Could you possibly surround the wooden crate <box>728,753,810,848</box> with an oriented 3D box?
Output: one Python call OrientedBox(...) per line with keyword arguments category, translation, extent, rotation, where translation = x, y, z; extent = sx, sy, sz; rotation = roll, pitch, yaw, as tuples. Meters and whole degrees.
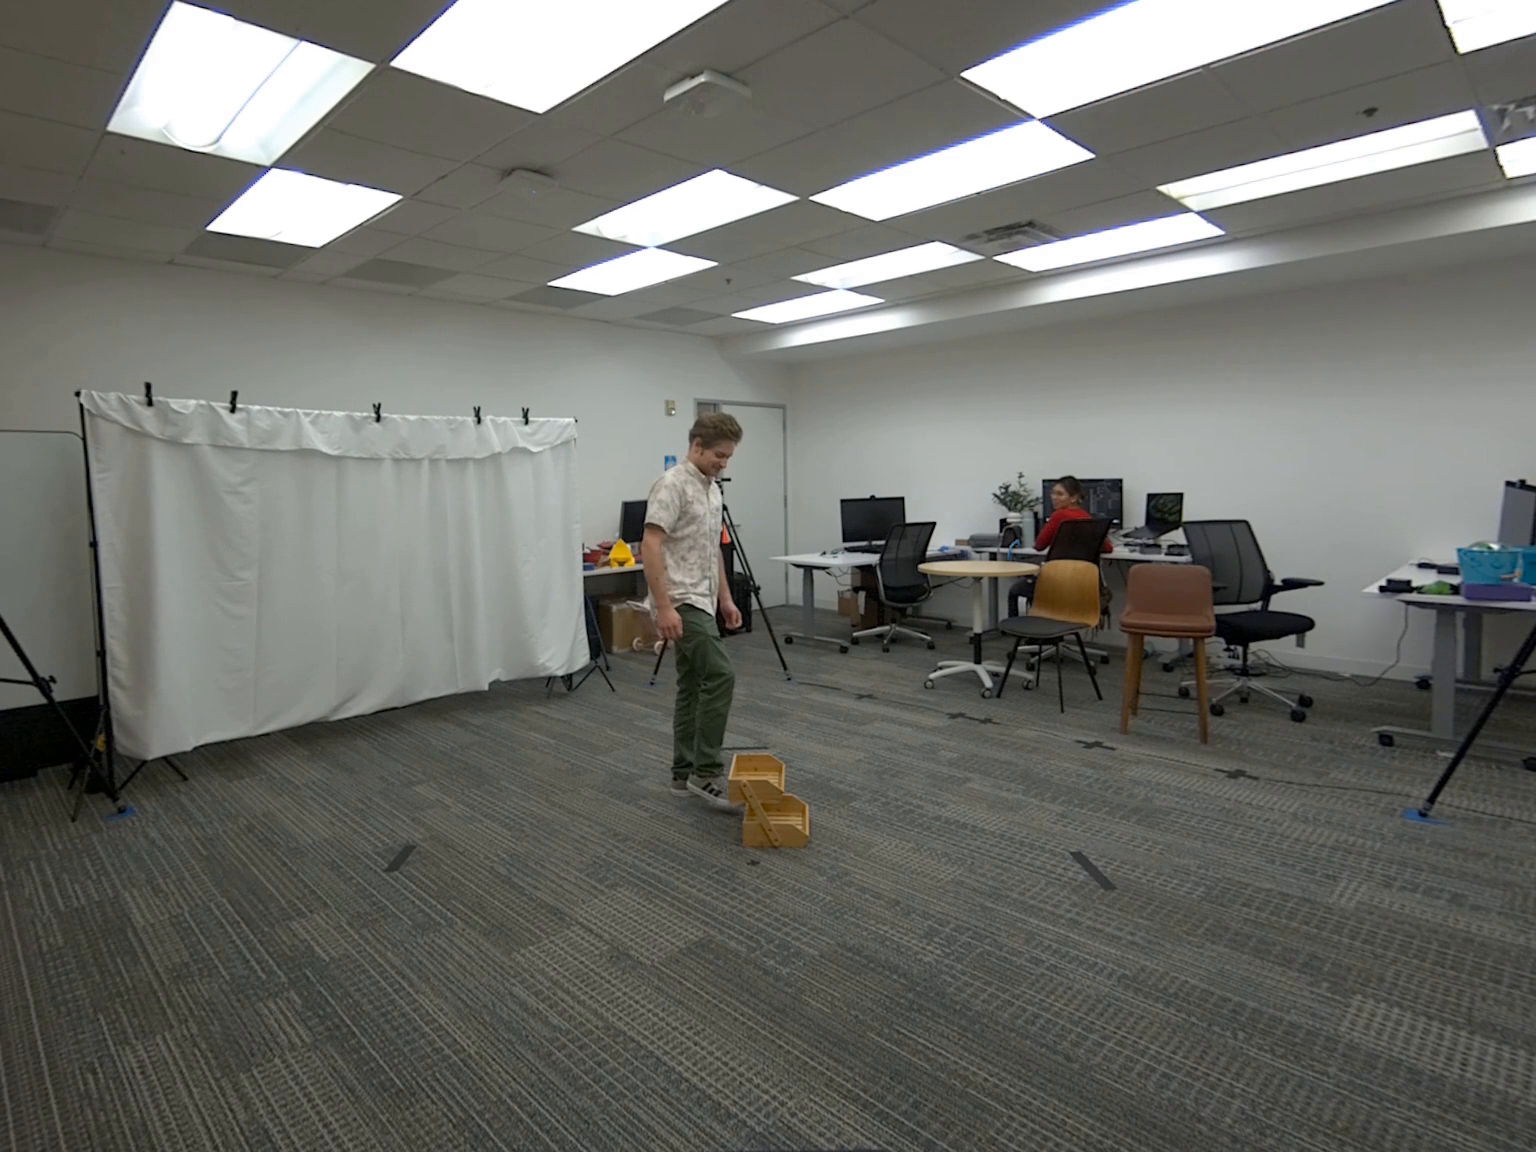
OrientedBox(category="wooden crate", translation=(0.016, 0.877, 3.381), extent=(0.303, 0.272, 0.324), rotation=(-1, 5, 3))
